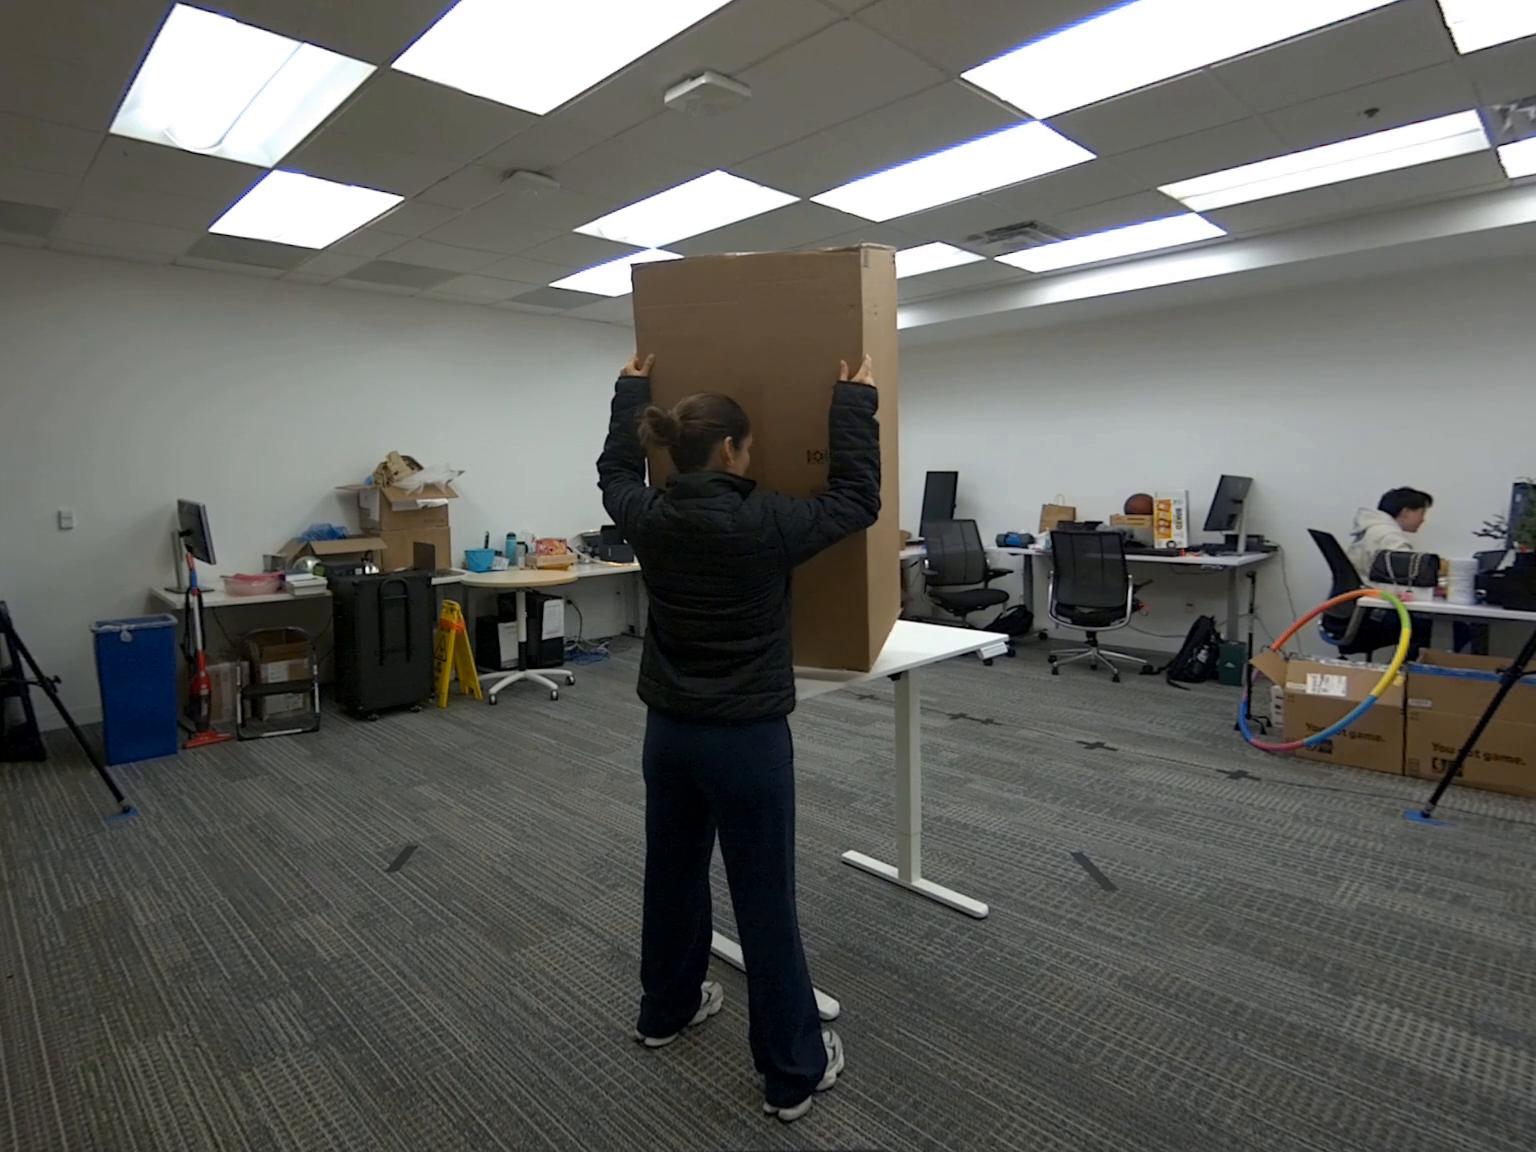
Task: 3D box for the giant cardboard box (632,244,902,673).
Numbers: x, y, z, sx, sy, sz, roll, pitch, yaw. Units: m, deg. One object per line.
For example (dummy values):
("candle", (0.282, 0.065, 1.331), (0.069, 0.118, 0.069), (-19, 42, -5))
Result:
("giant cardboard box", (0.027, -0.321, 2.293), (0.596, 1.012, 0.444), (4, 17, 21))
